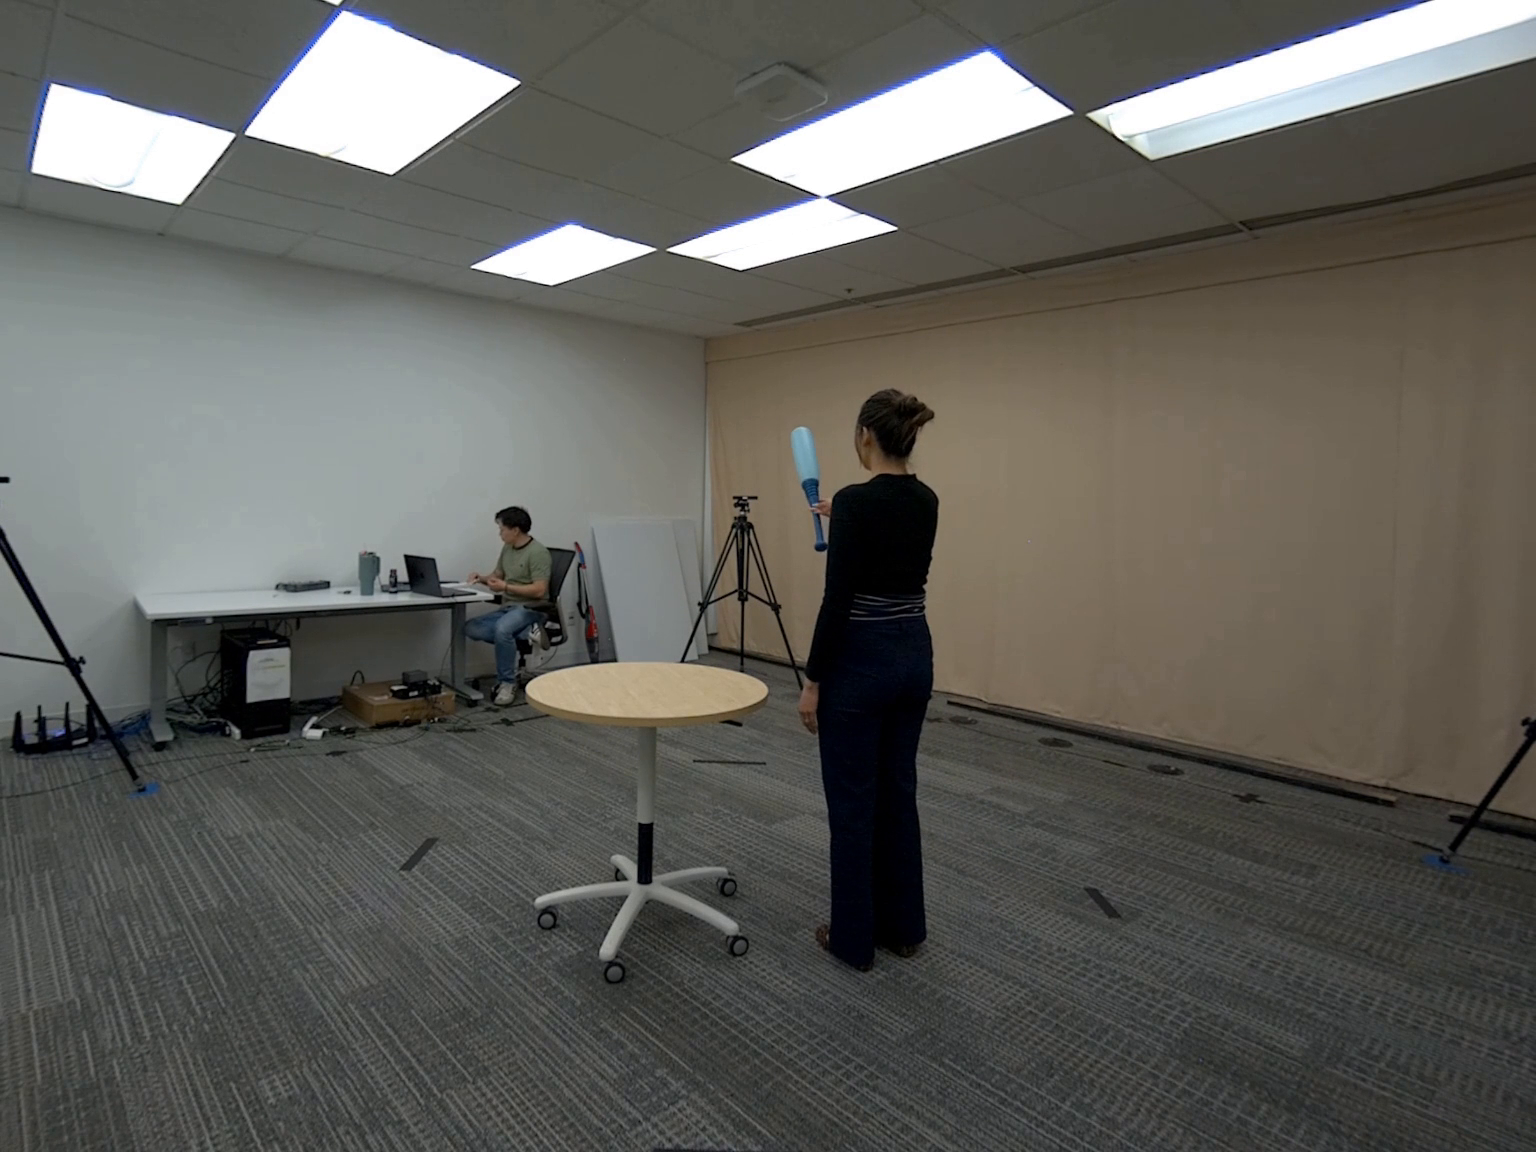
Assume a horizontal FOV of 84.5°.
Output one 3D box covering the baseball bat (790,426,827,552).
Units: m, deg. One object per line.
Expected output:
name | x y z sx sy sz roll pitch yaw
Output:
baseball bat | 0.158 -0.330 3.169 0.089 0.555 0.087 -5 -32 -4
